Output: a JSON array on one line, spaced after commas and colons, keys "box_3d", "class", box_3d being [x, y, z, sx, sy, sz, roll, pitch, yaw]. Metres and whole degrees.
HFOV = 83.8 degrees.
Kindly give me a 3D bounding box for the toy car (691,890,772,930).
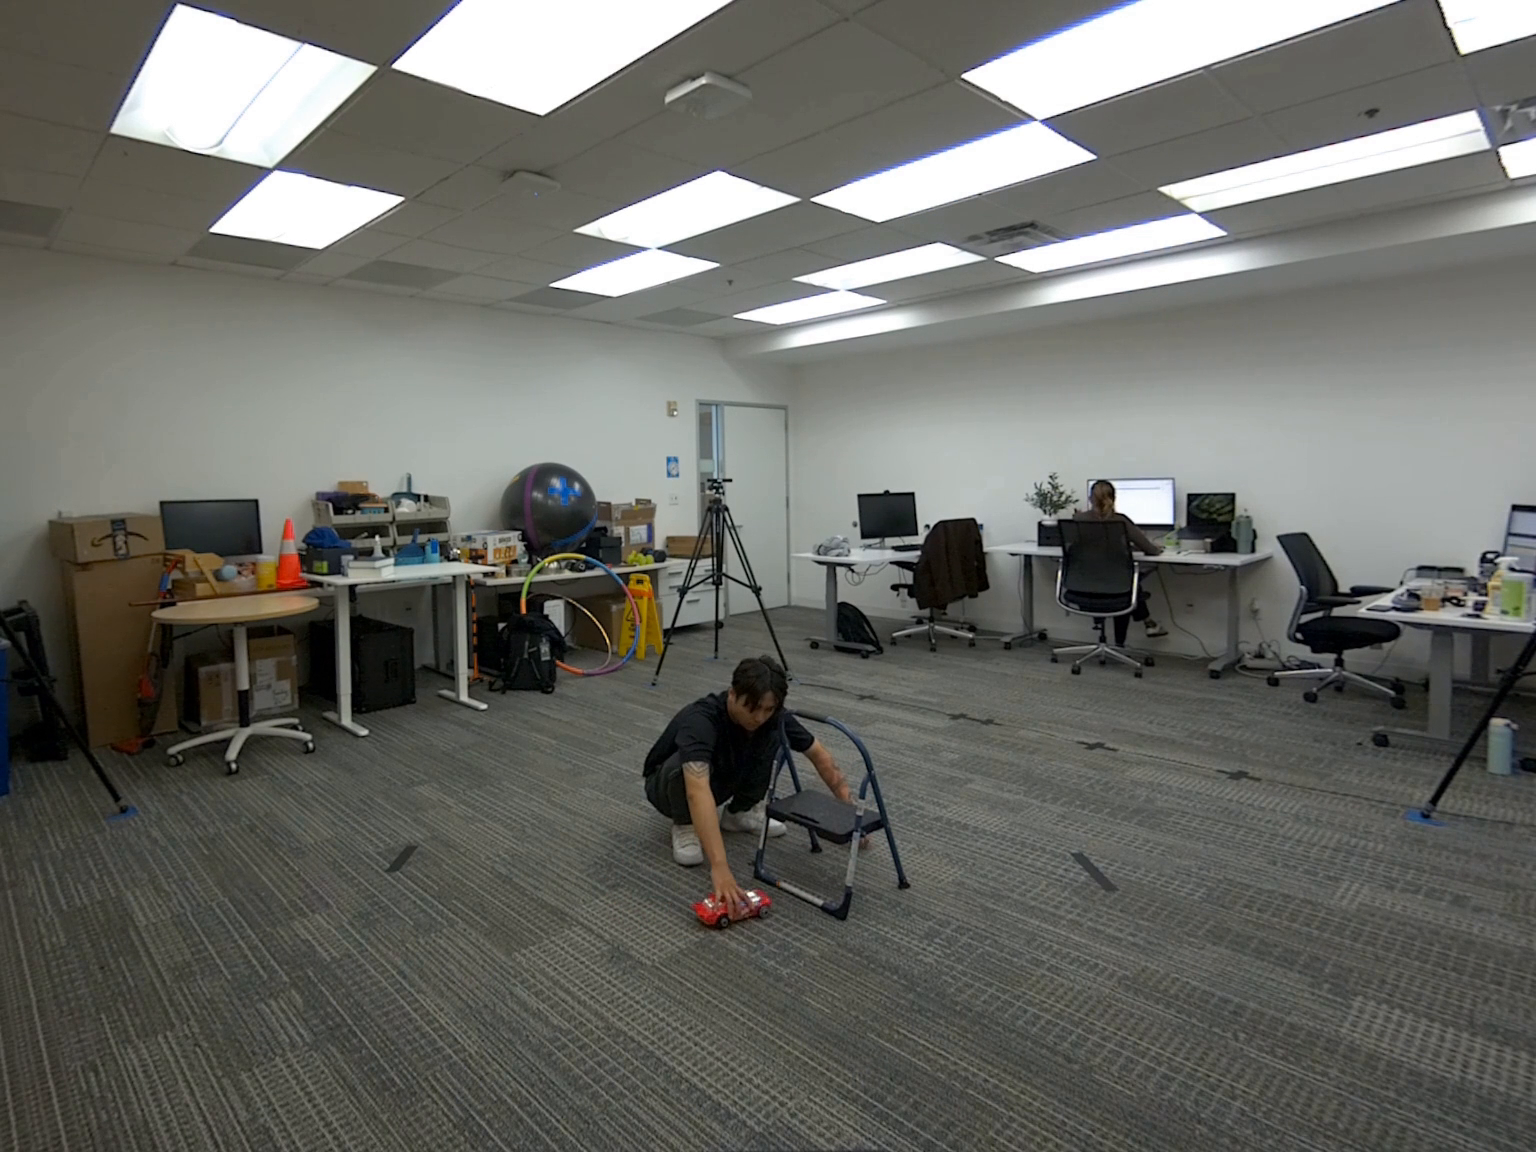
[{"box_3d": [-0.129, 1.066, 2.727, 0.248, 0.083, 0.133, 7, 0, -25], "class": "toy car"}]
